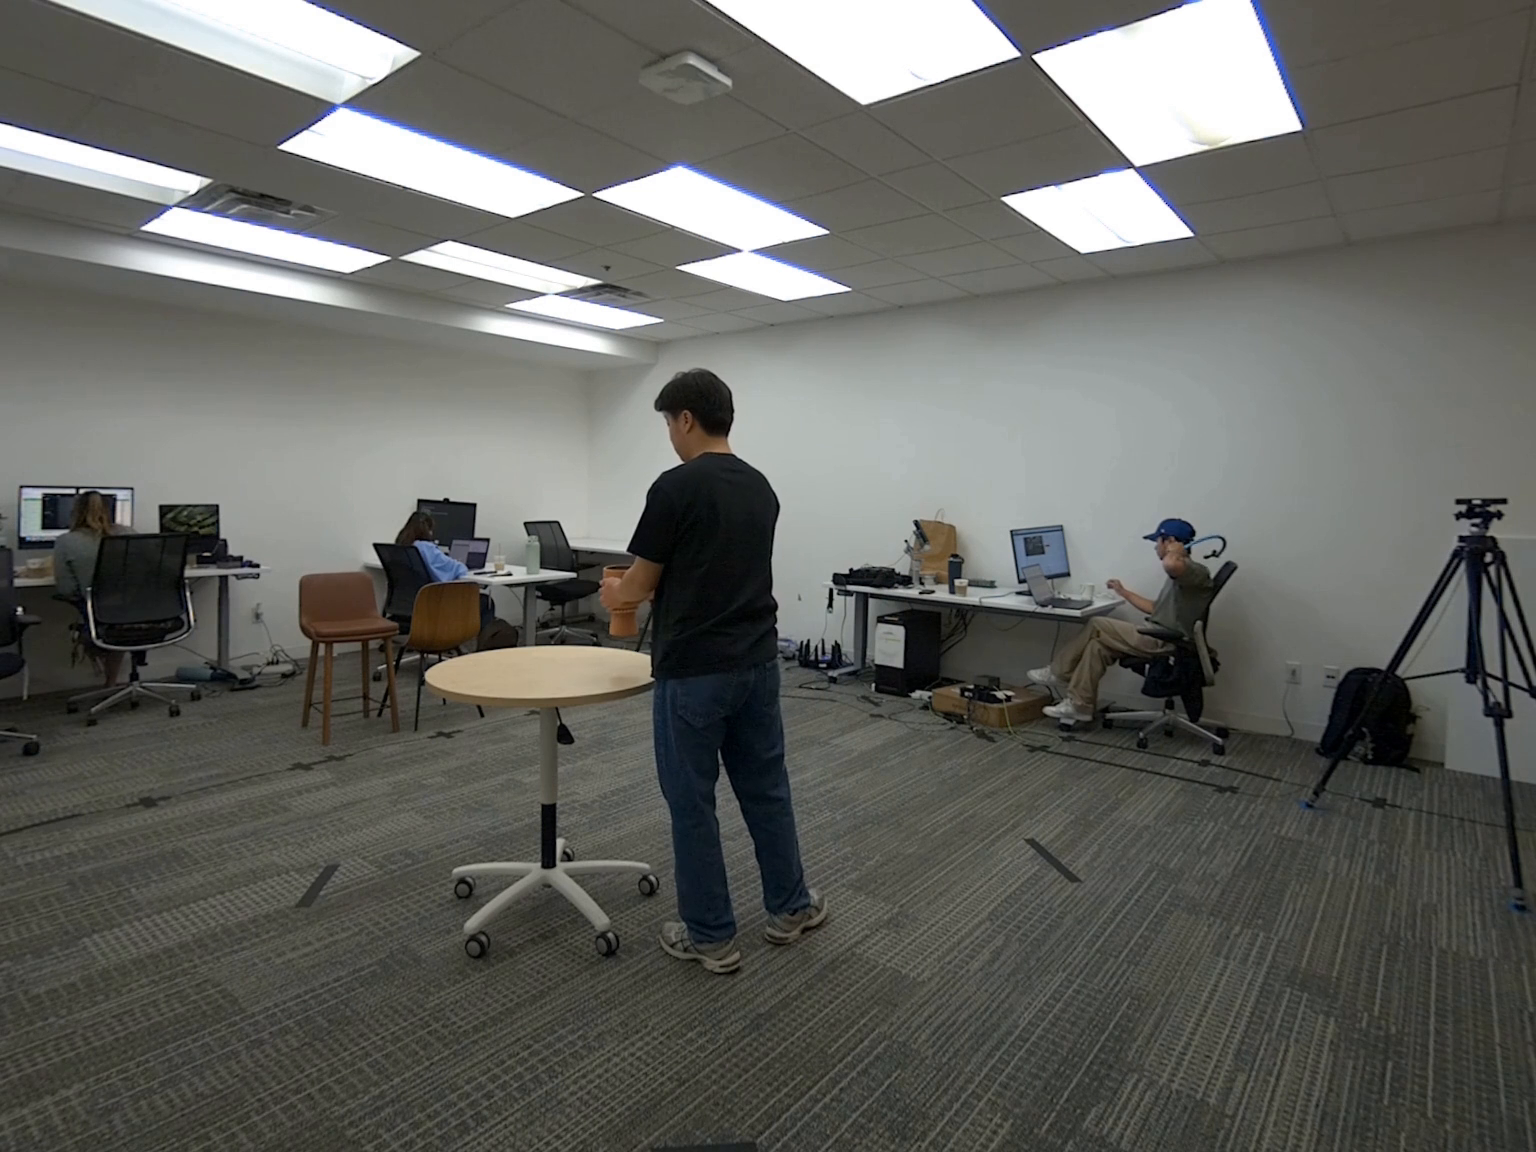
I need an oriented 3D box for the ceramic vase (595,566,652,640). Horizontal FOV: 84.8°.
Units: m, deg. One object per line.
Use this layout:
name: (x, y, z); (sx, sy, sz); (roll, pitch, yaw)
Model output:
ceramic vase: (-0.485, 0.085, 2.824); (0.137, 0.219, 0.157); (2, 5, 16)
